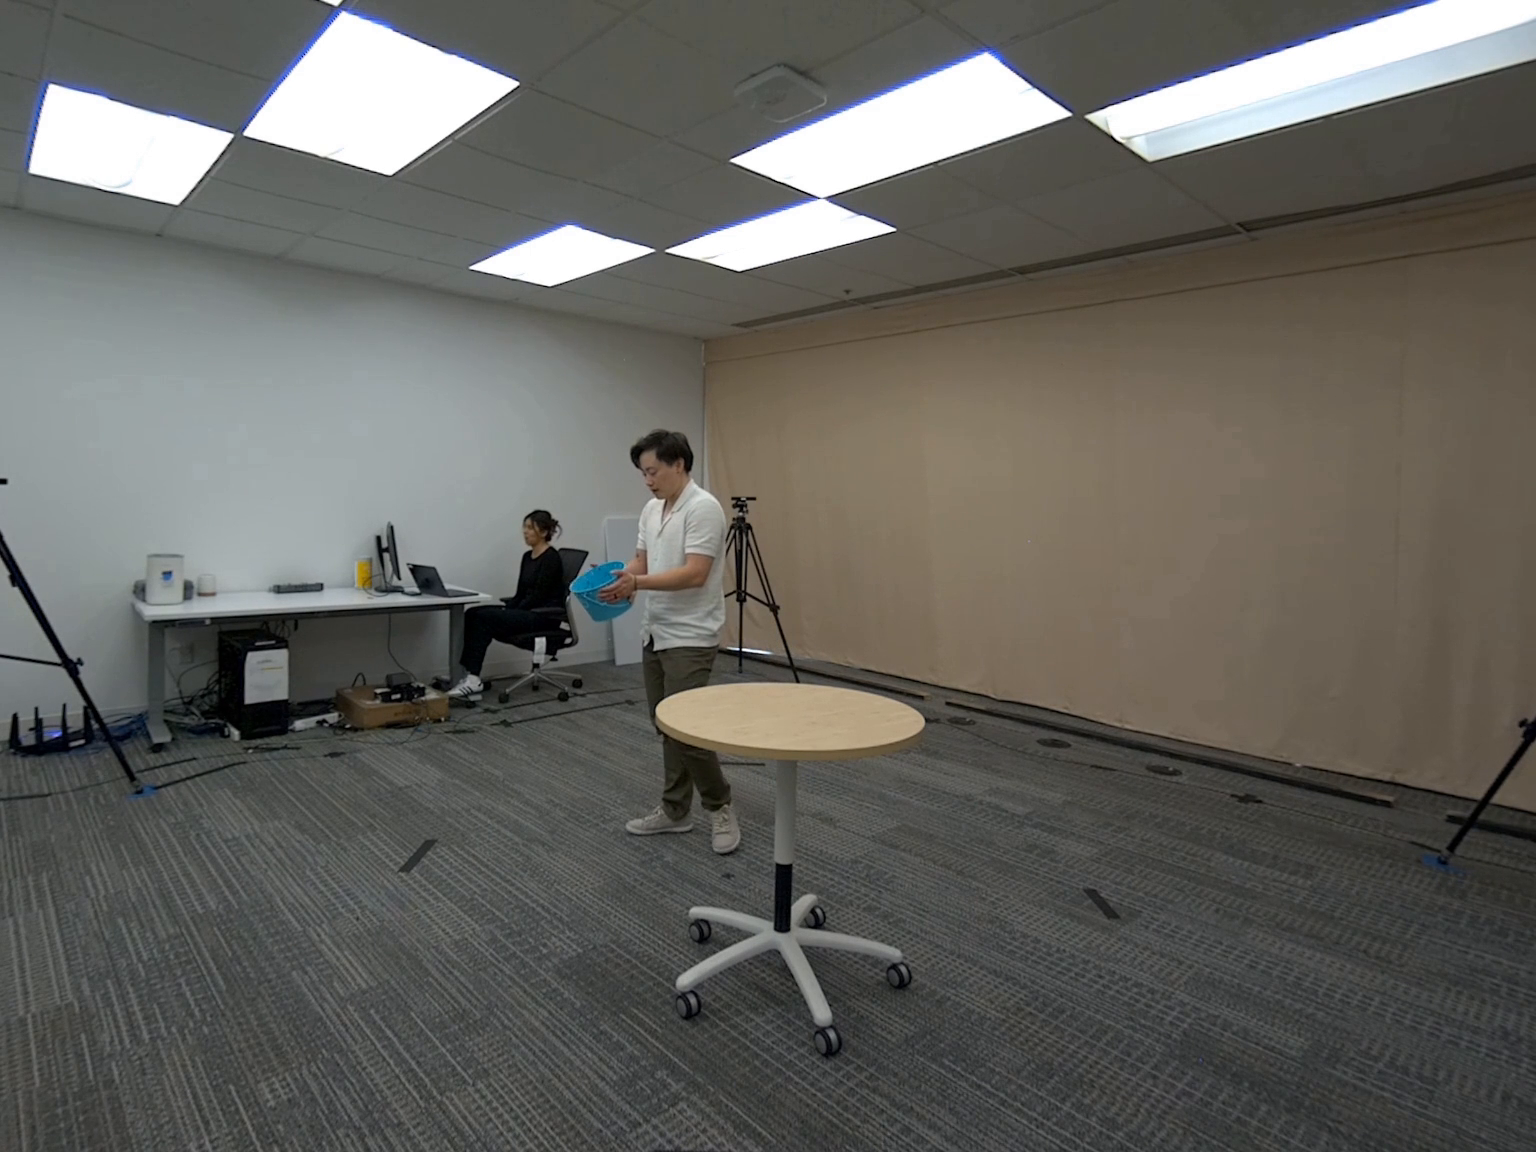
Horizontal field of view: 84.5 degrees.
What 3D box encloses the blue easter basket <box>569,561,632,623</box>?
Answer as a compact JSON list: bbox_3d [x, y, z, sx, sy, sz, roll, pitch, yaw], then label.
[{"bbox_3d":[-0.633,0.068,3.276,0.244,0.153,0.247,-20,21,6],"label":"blue easter basket"}]
